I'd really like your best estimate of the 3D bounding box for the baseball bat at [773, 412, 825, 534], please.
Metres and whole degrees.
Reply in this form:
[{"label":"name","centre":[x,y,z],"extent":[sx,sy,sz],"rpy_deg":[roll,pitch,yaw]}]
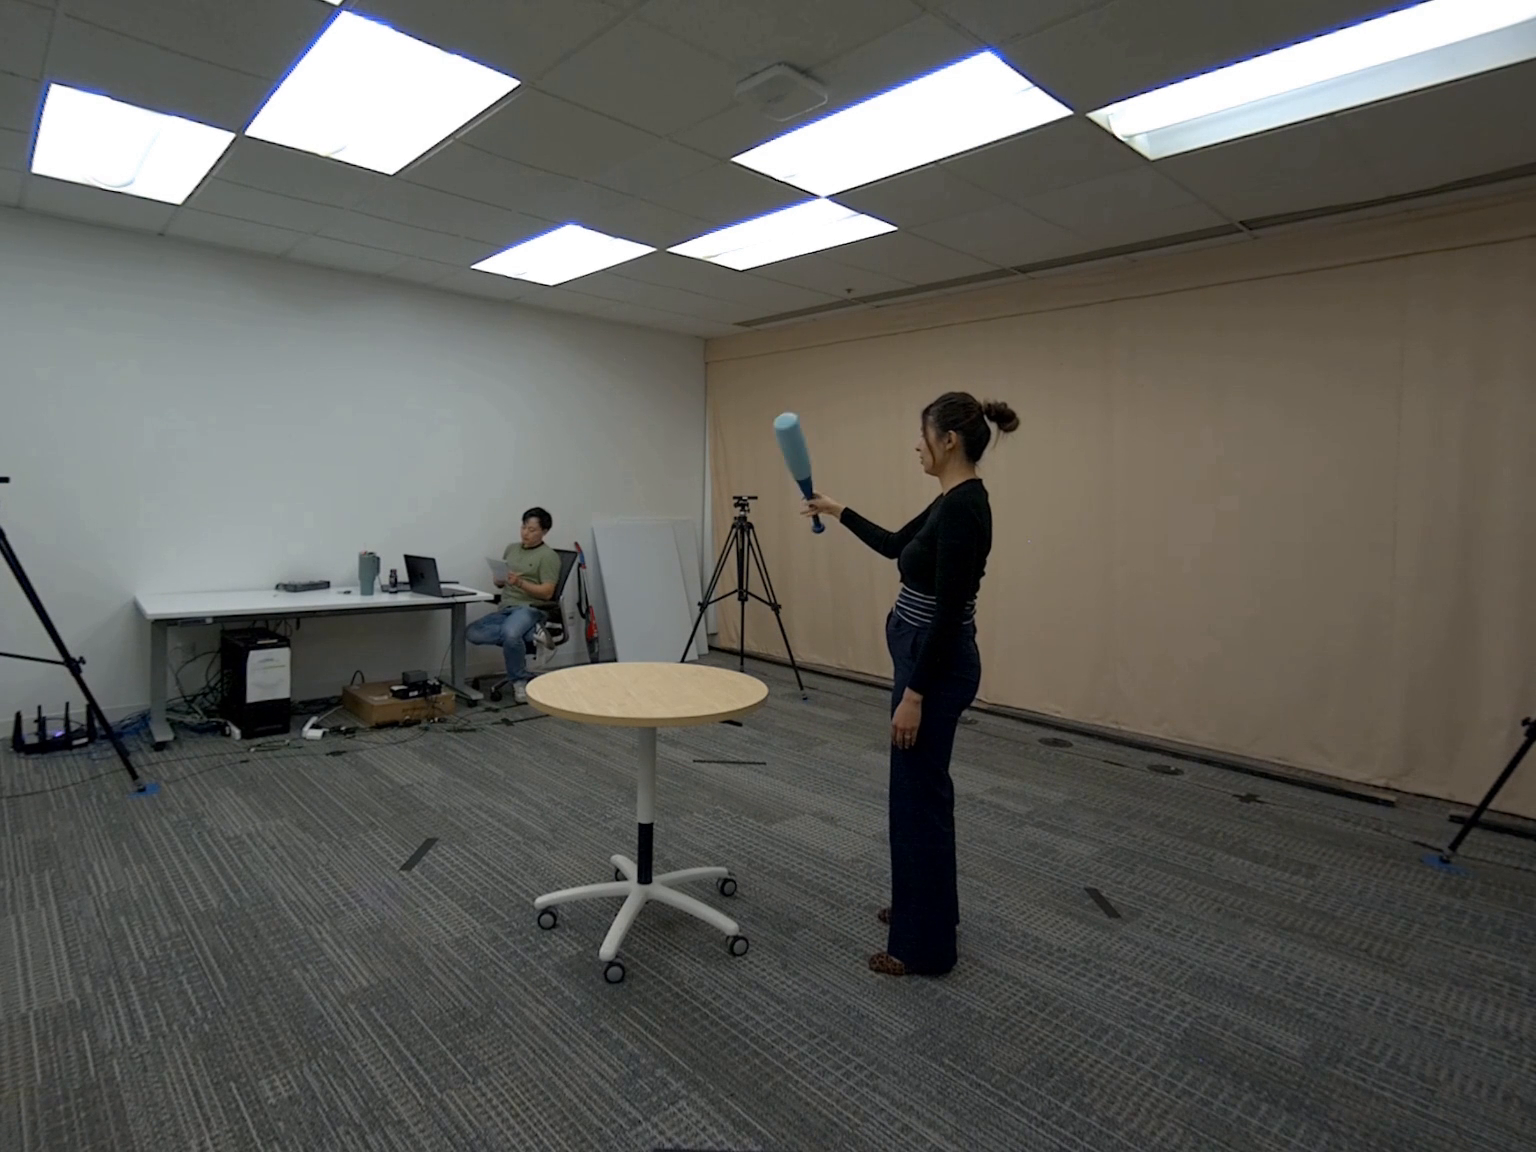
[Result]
[{"label":"baseball bat","centre":[0.126,-0.328,2.958],"extent":[0.091,0.090,0.527],"rpy_deg":[3,-39,22]}]
